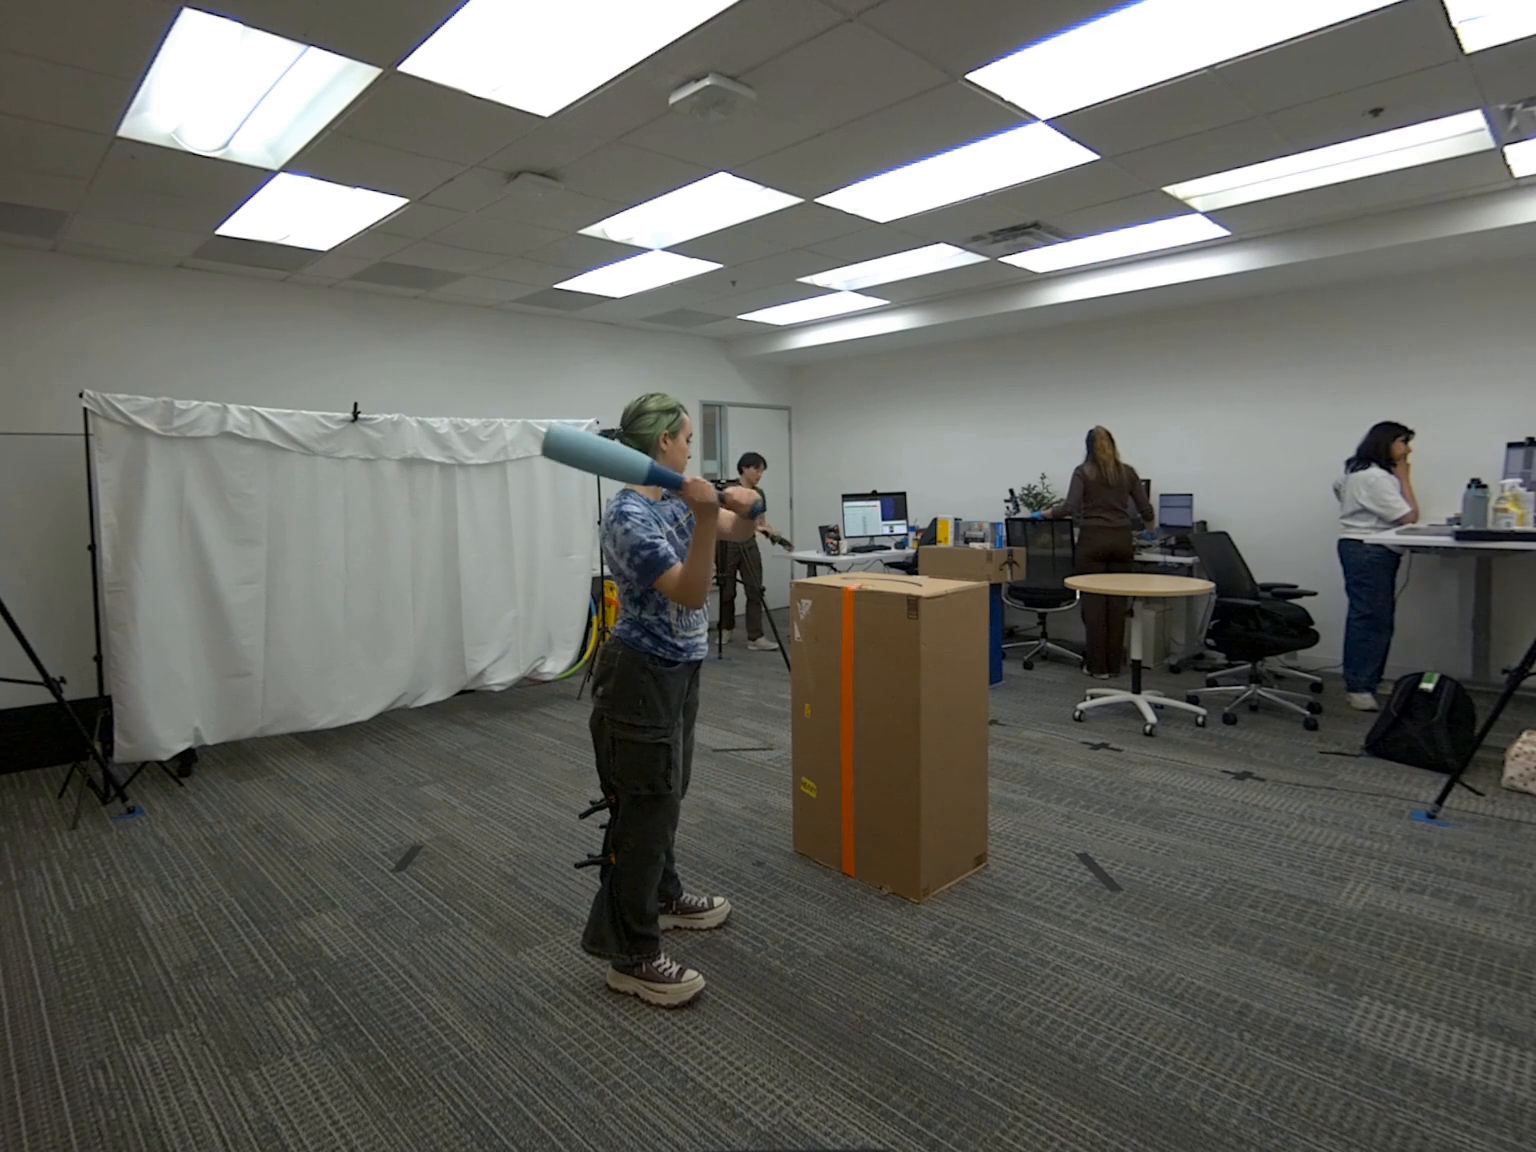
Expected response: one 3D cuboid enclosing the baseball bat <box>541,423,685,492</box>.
[{"bbox_3d":[-0.247,-0.224,2.049,0.534,0.089,0.090,17,0,-14],"label":"baseball bat"}]
